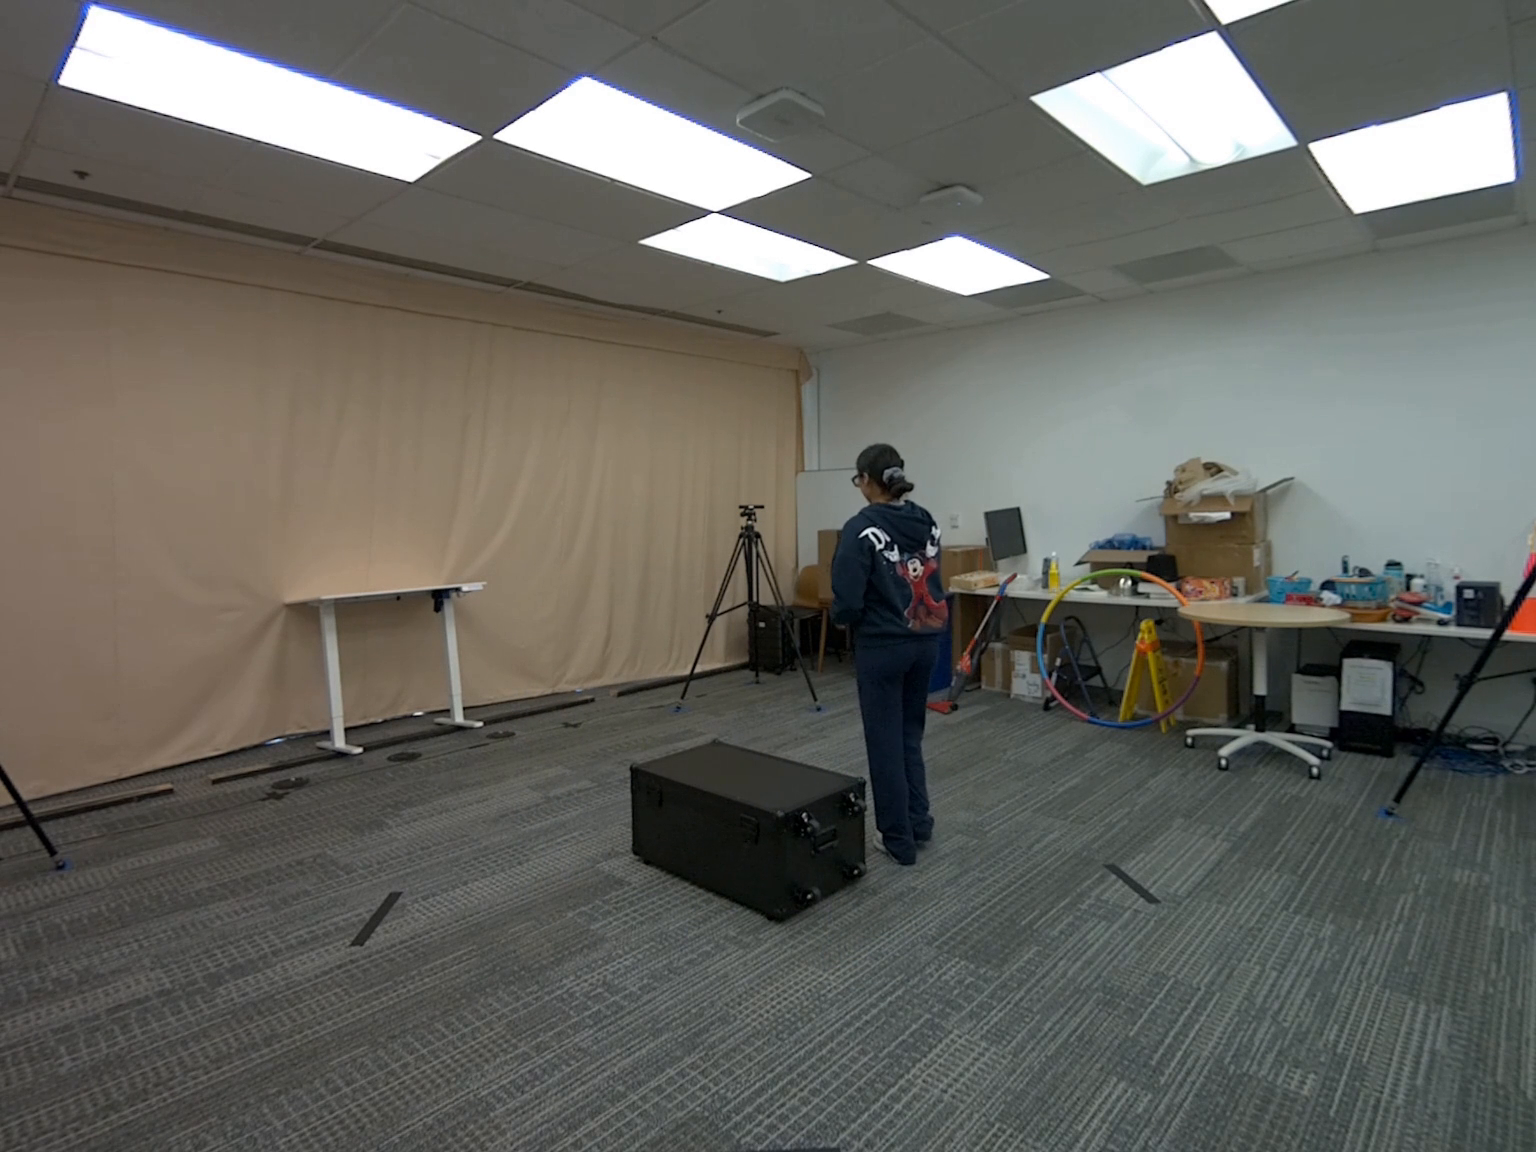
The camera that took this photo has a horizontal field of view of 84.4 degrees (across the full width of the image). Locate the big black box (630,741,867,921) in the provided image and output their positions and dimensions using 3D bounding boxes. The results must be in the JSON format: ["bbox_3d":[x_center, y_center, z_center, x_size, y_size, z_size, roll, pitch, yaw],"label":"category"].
[{"bbox_3d":[-0.066,0.934,3.186,0.890,0.395,0.505,3,5,43],"label":"big black box"}]
